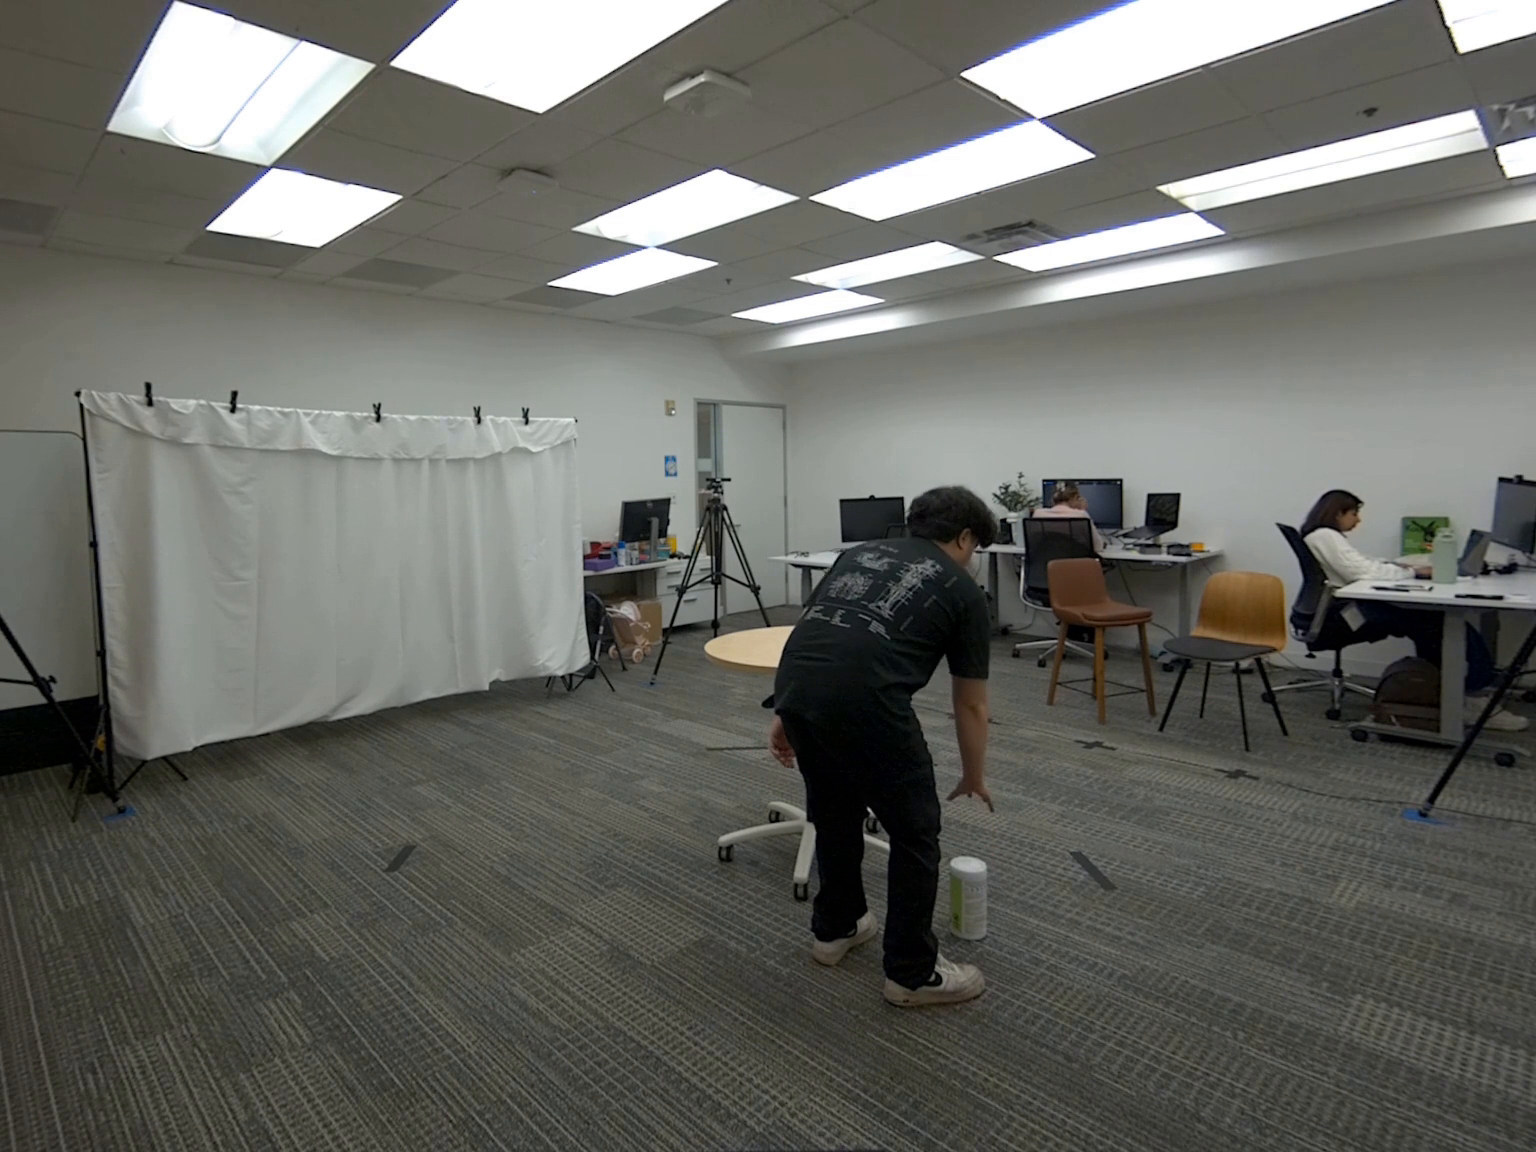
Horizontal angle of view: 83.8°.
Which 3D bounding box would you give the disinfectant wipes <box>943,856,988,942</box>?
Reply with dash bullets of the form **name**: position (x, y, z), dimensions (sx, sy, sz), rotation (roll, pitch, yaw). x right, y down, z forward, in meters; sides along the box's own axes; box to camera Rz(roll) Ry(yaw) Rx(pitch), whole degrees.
- **disinfectant wipes**: position (0.613, 0.980, 2.593), dimensions (0.118, 0.217, 0.118), rotation (-2, 3, -2)
